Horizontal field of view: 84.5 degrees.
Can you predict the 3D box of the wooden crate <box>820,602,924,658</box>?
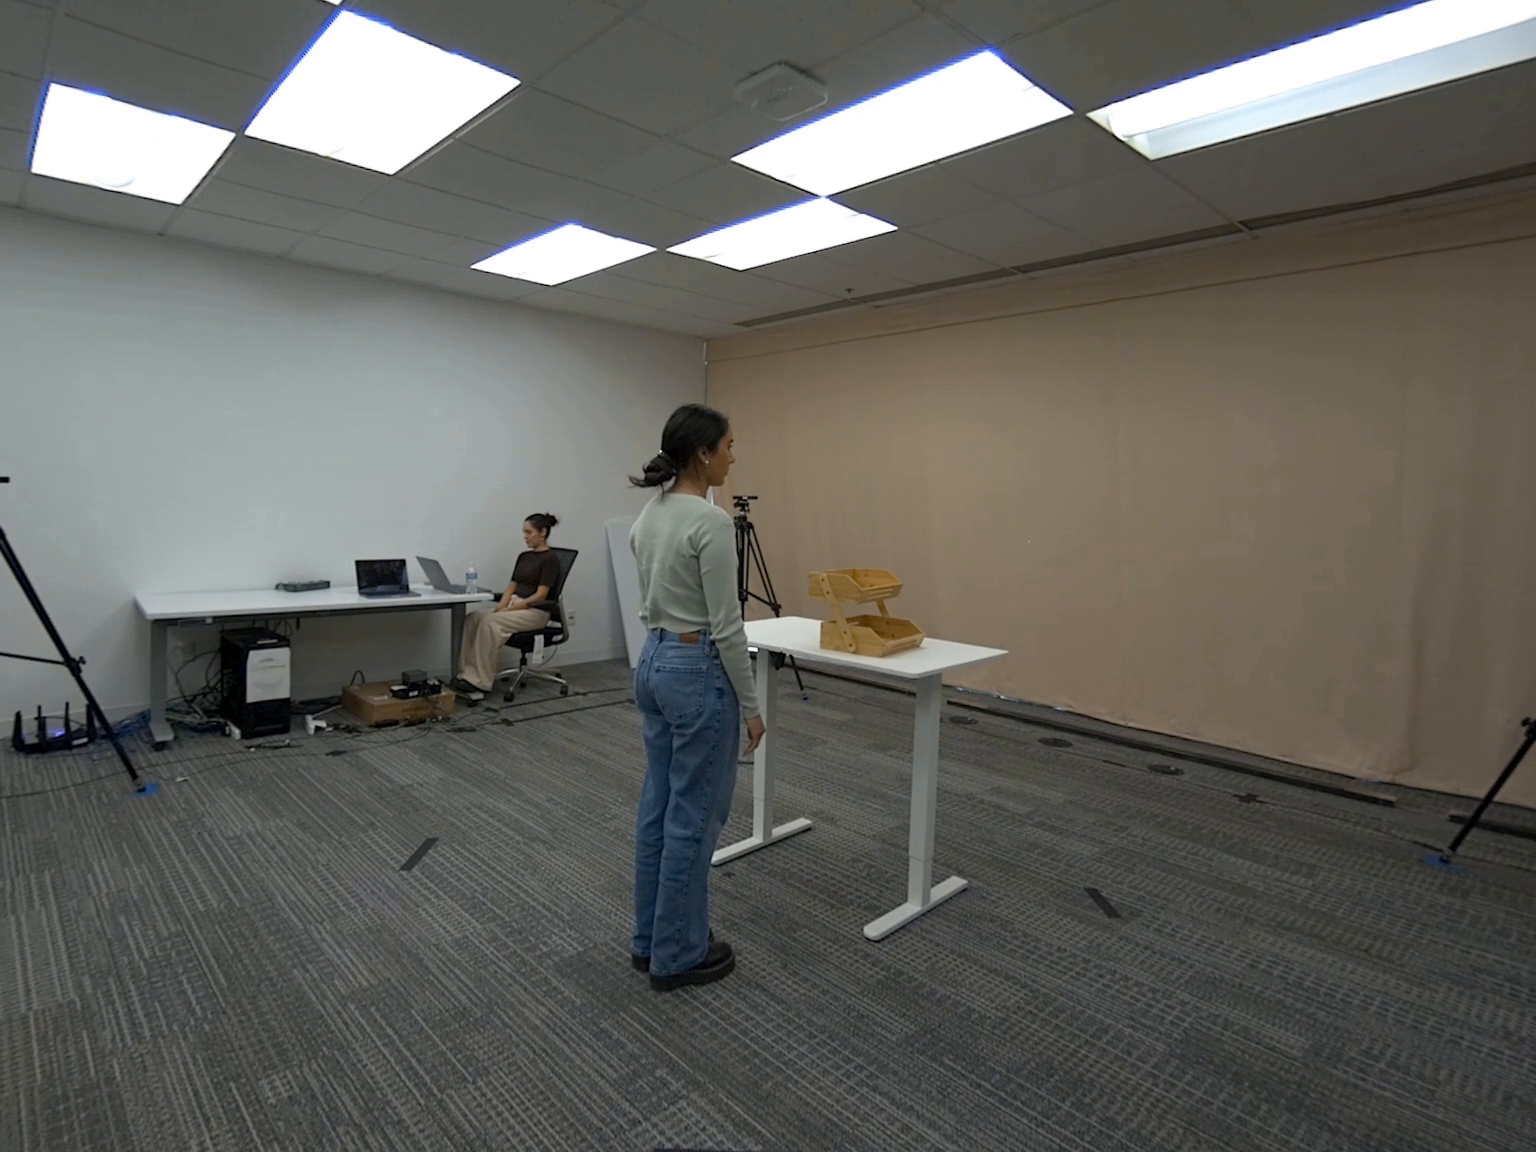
[{"bbox_3d":[0.347,0.118,2.932,0.309,0.273,0.317,4,5,36],"label":"wooden crate"}]
